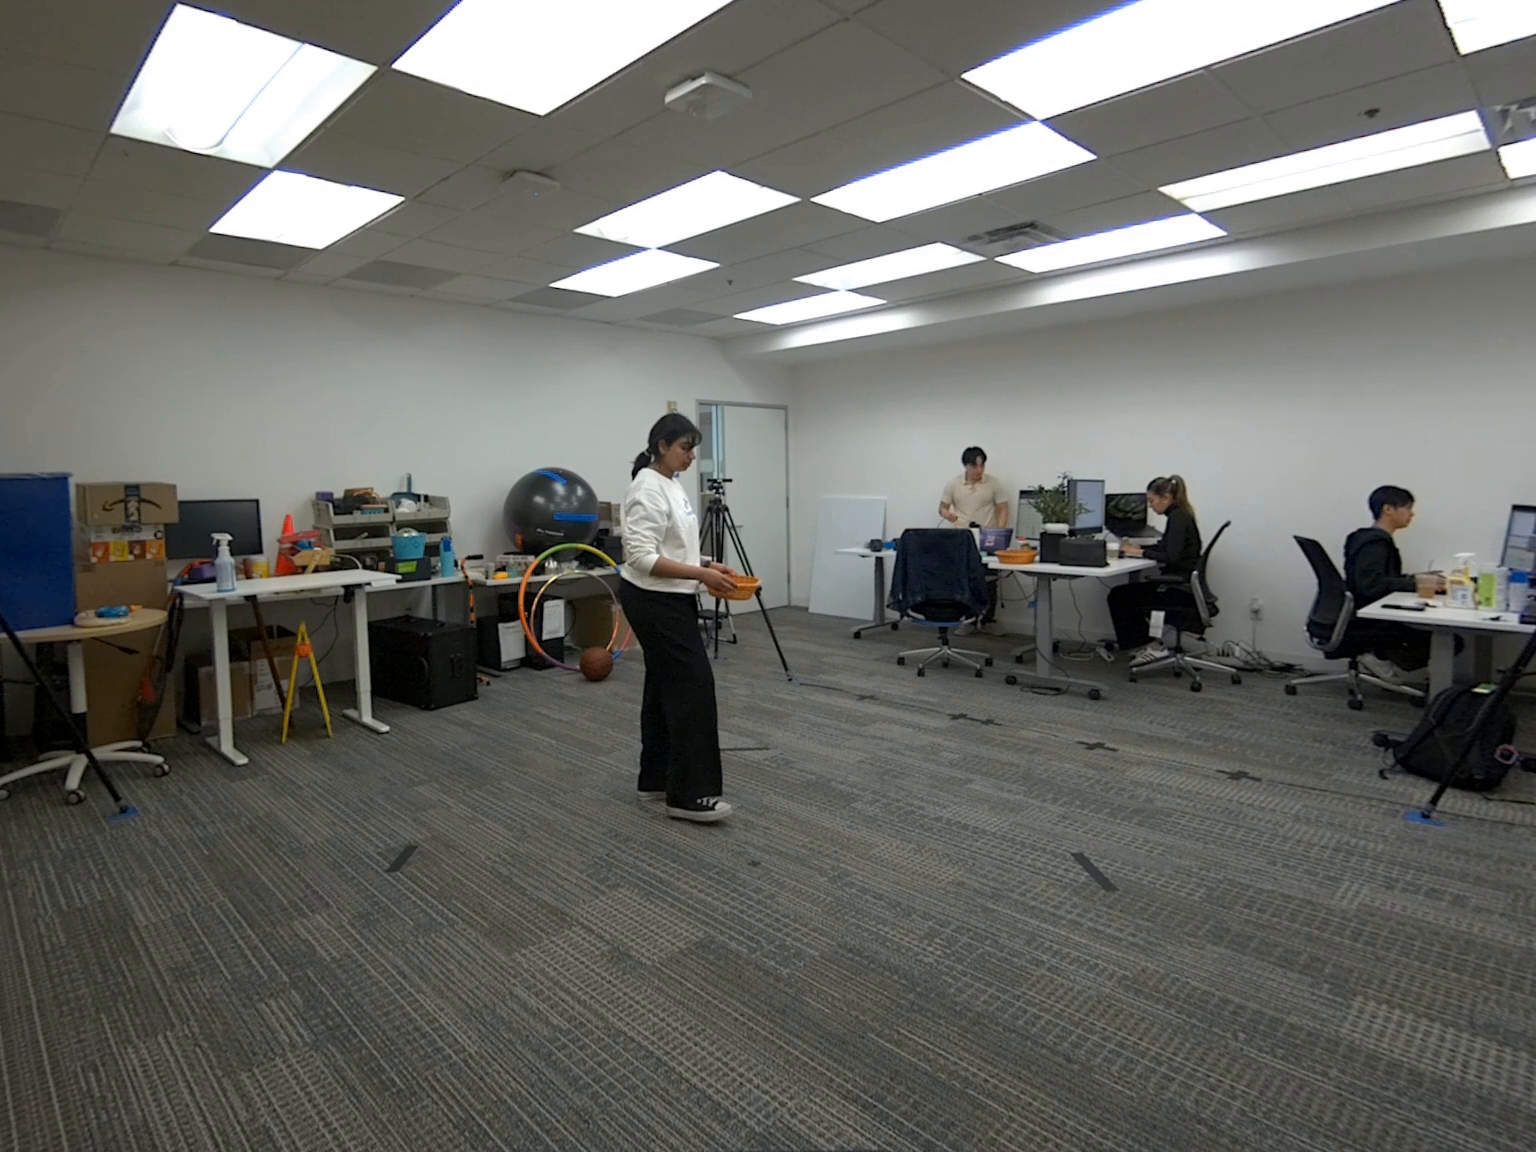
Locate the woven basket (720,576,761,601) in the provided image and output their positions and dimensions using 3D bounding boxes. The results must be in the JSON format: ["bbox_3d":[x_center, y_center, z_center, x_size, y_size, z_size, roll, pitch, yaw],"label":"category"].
[{"bbox_3d":[-0.163,0.052,3.675,0.255,0.073,0.349,5,7,7],"label":"woven basket"}]
